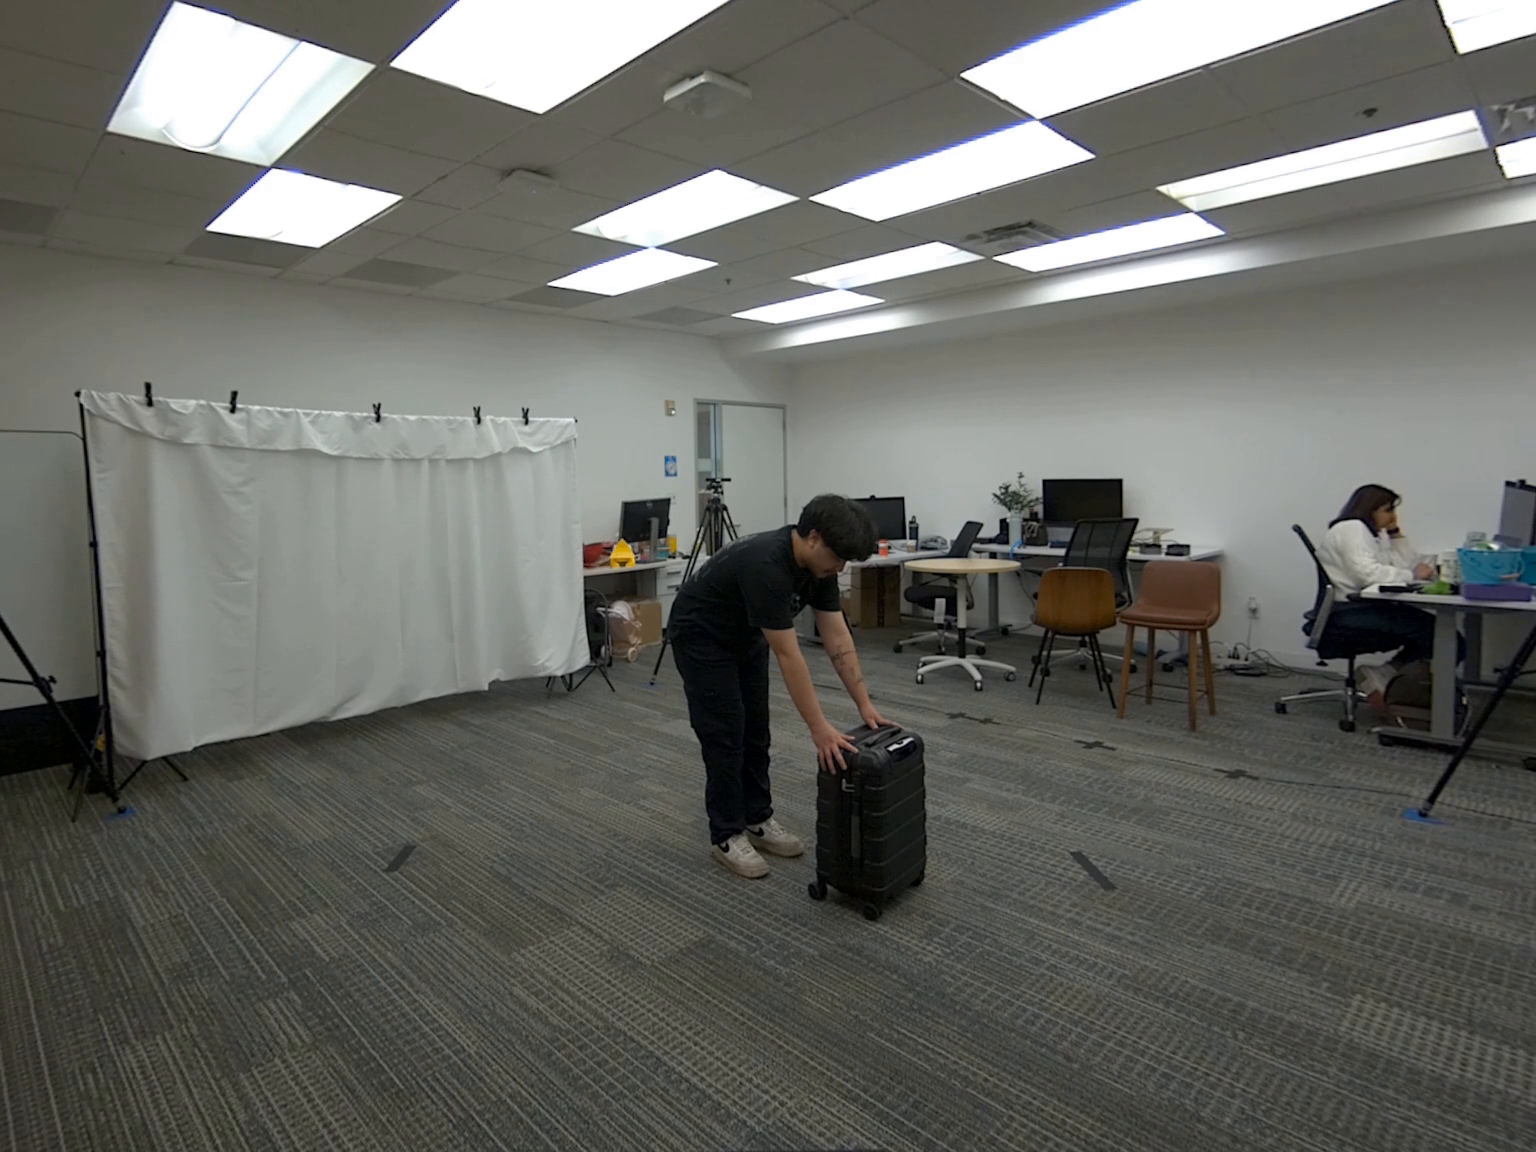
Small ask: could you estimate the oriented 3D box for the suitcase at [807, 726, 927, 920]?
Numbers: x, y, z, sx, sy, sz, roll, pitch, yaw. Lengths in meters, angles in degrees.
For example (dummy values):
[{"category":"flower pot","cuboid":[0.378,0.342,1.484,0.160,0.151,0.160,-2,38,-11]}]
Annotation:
[{"category":"suitcase","cuboid":[0.351,0.794,2.844,0.256,0.547,0.366,3,6,37]}]
